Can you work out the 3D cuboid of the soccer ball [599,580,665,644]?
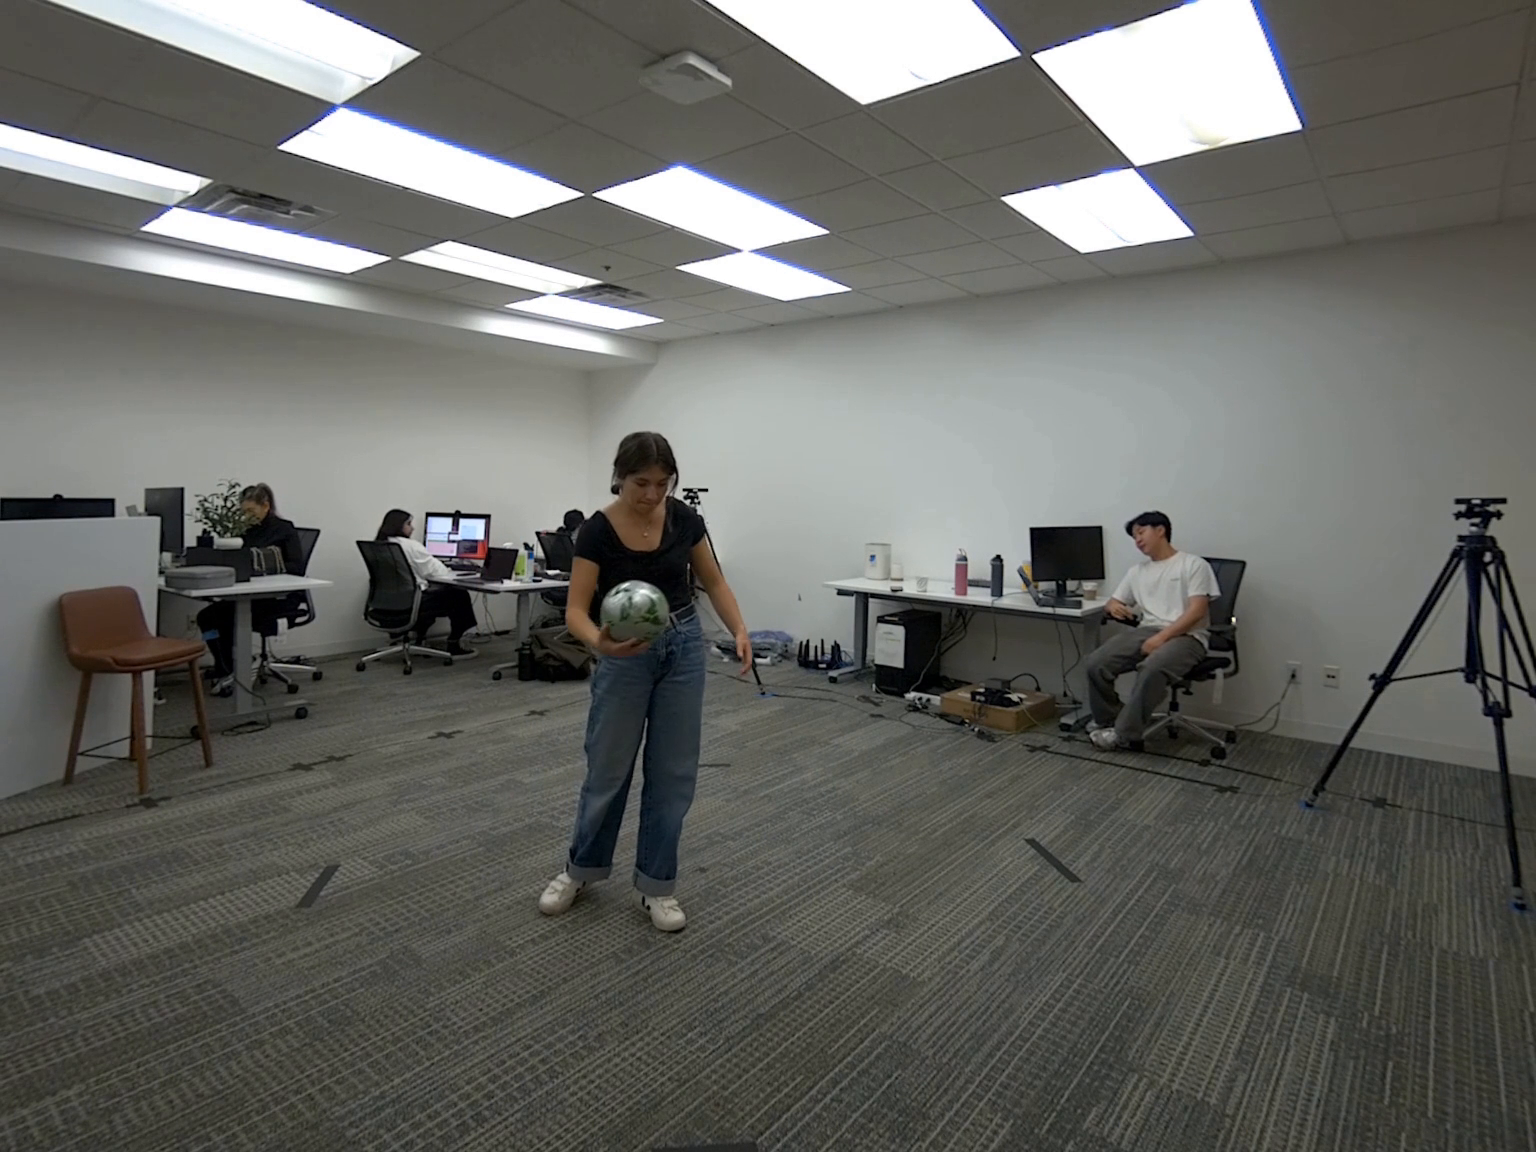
[{"bbox_3d":[-0.422,0.112,2.417,0.187,0.187,0.188,1,4,-2],"label":"soccer ball"}]
